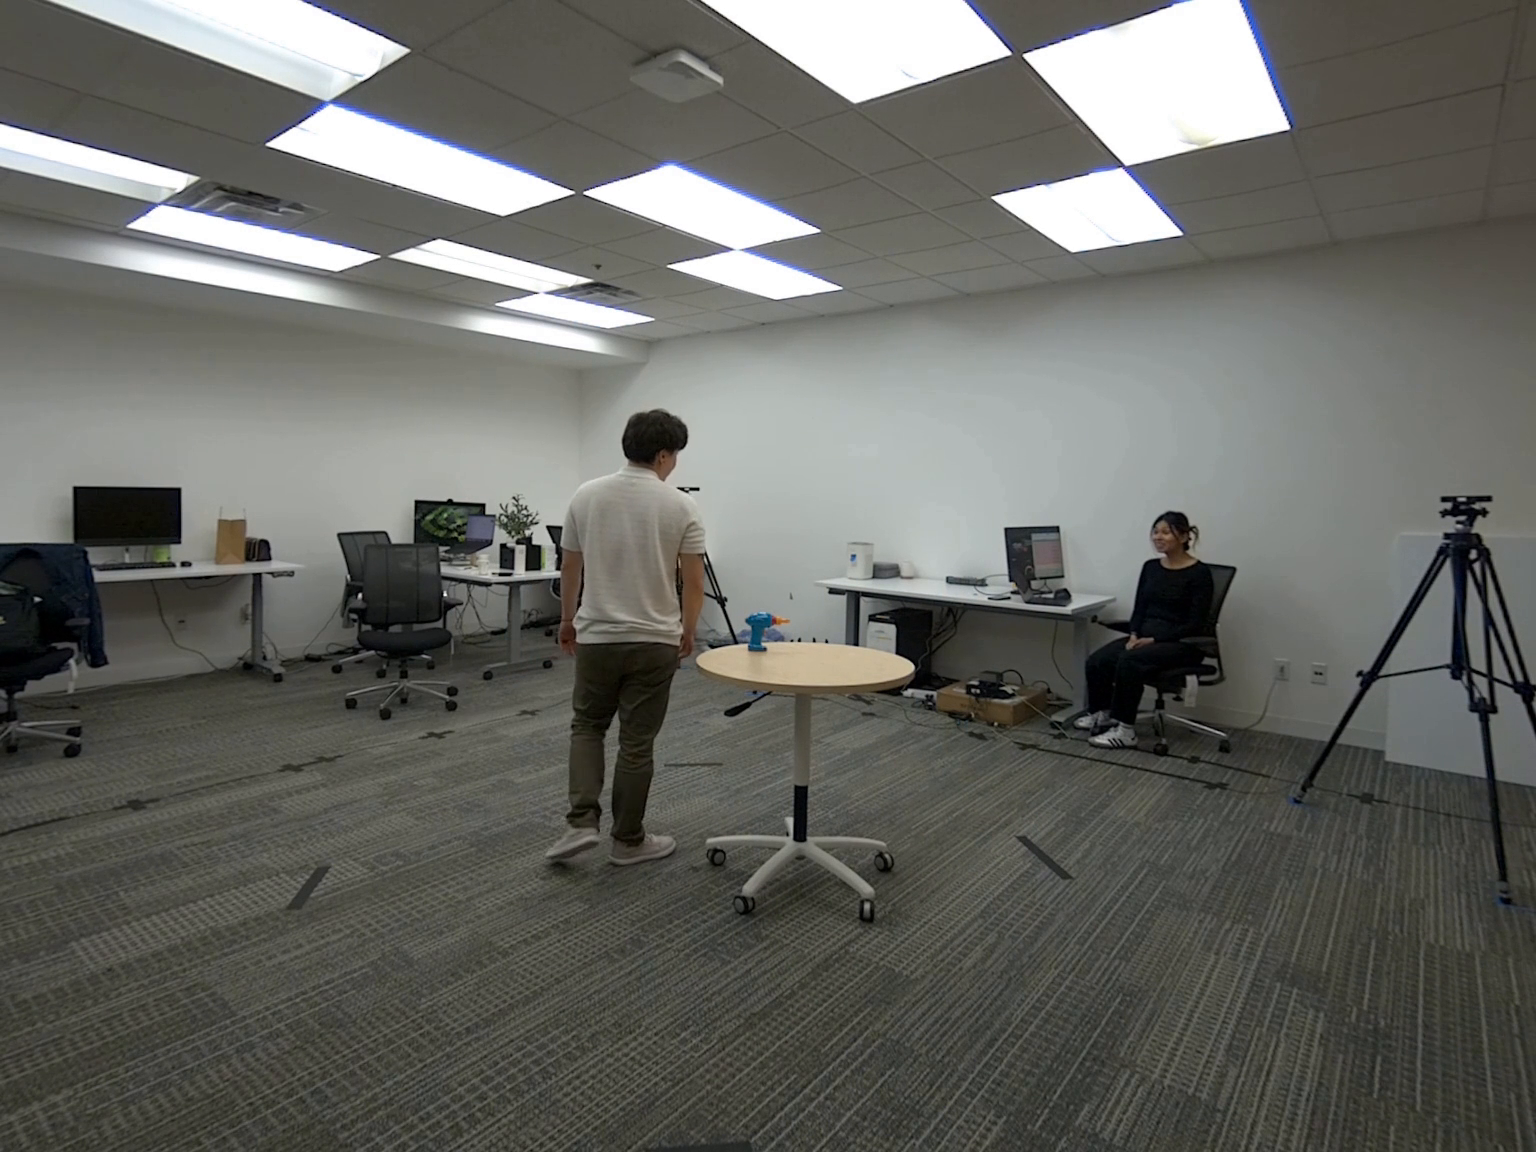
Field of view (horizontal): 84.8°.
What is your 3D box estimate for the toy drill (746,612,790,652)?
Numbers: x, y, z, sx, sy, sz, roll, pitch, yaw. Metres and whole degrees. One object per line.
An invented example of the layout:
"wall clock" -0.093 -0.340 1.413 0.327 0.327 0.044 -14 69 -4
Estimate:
"toy drill" -0.008 0.204 3.196 0.169 0.146 0.061 1 1 -5
